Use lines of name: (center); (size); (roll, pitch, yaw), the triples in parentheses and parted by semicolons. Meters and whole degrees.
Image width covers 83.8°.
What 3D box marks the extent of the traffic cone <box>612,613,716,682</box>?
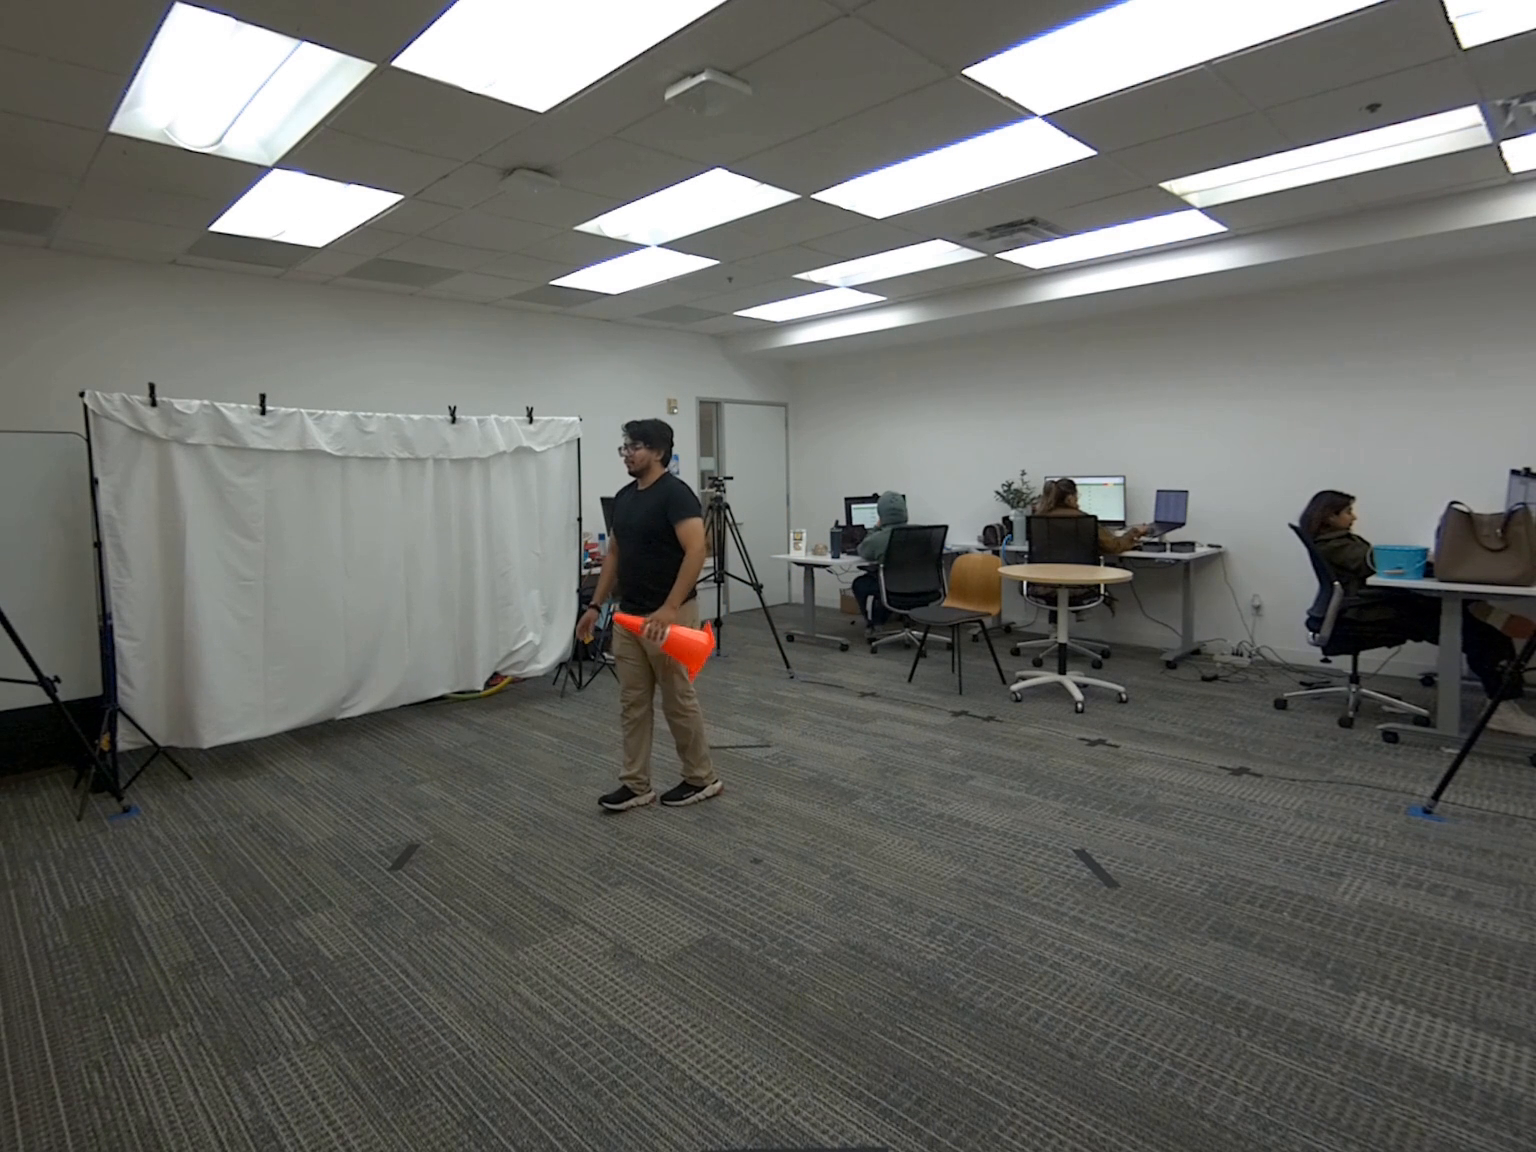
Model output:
traffic cone: (-0.425, 0.227, 3.342); (0.376, 0.202, 0.210); (24, 19, -18)
